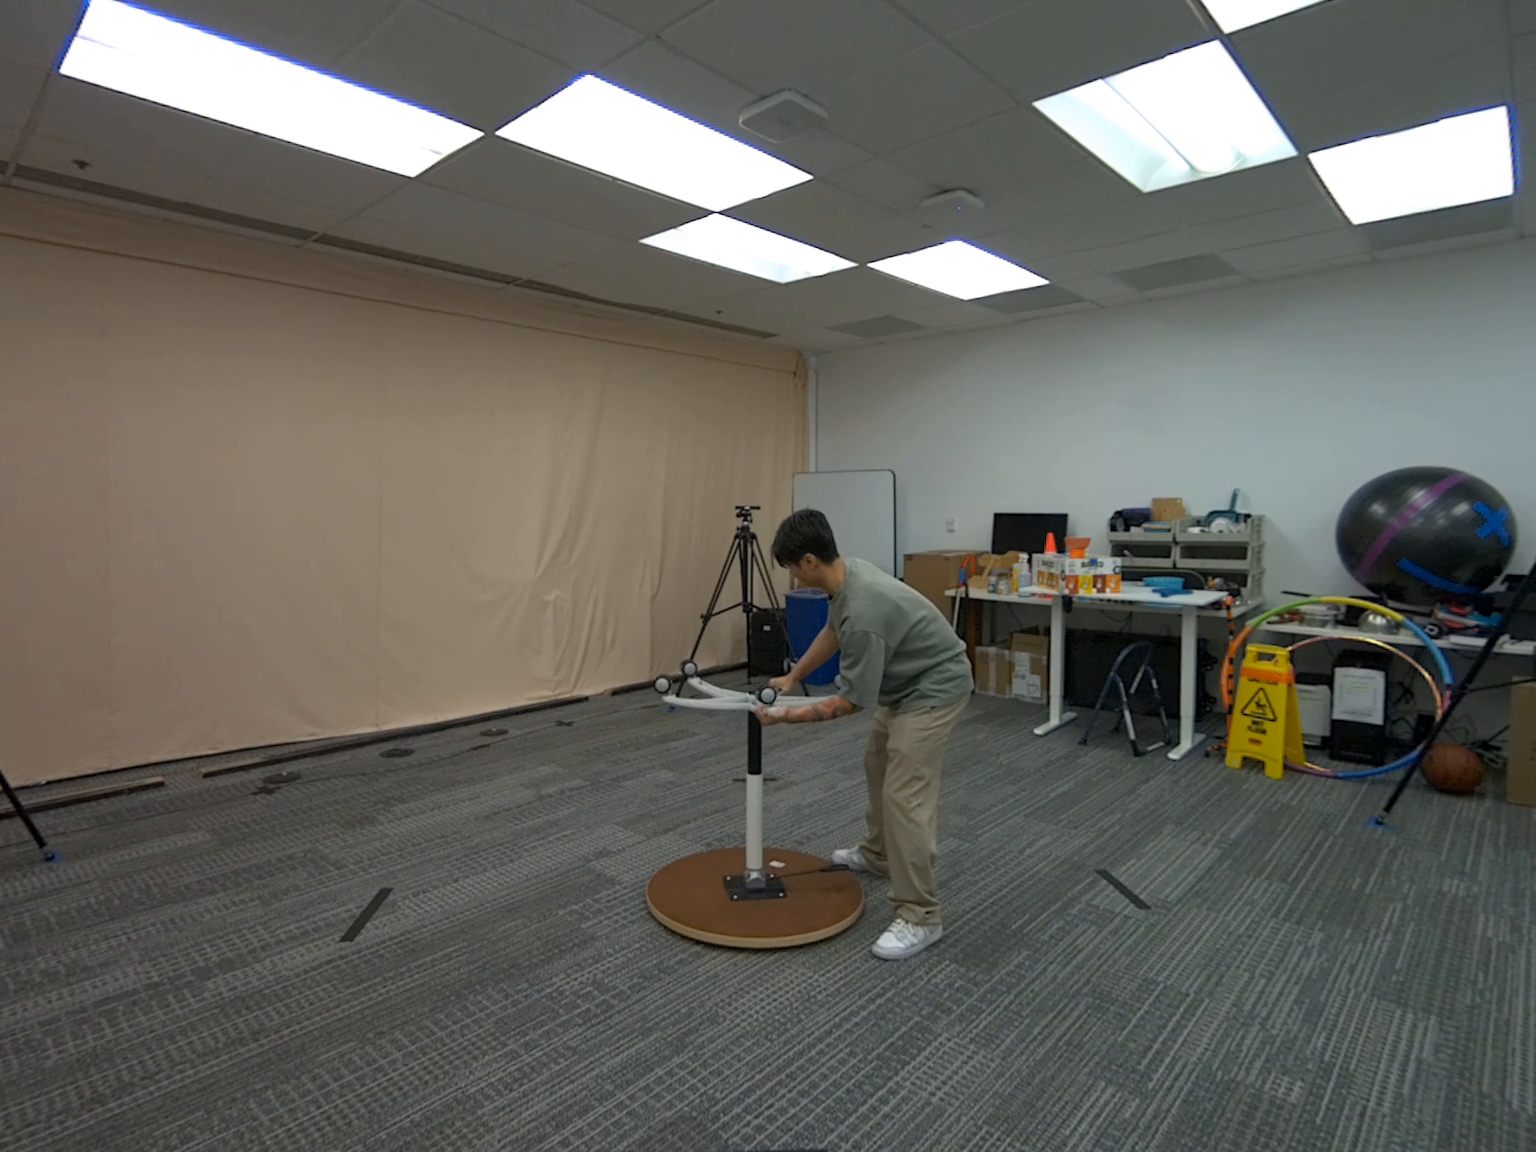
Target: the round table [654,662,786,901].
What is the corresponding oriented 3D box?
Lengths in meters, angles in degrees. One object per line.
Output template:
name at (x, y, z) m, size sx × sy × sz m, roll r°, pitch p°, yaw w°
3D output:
round table at (-0.050, 0.730, 2.993) m, size 0.784 × 0.786 × 0.787 m, roll 0°, pitch 2°, yaw -2°
